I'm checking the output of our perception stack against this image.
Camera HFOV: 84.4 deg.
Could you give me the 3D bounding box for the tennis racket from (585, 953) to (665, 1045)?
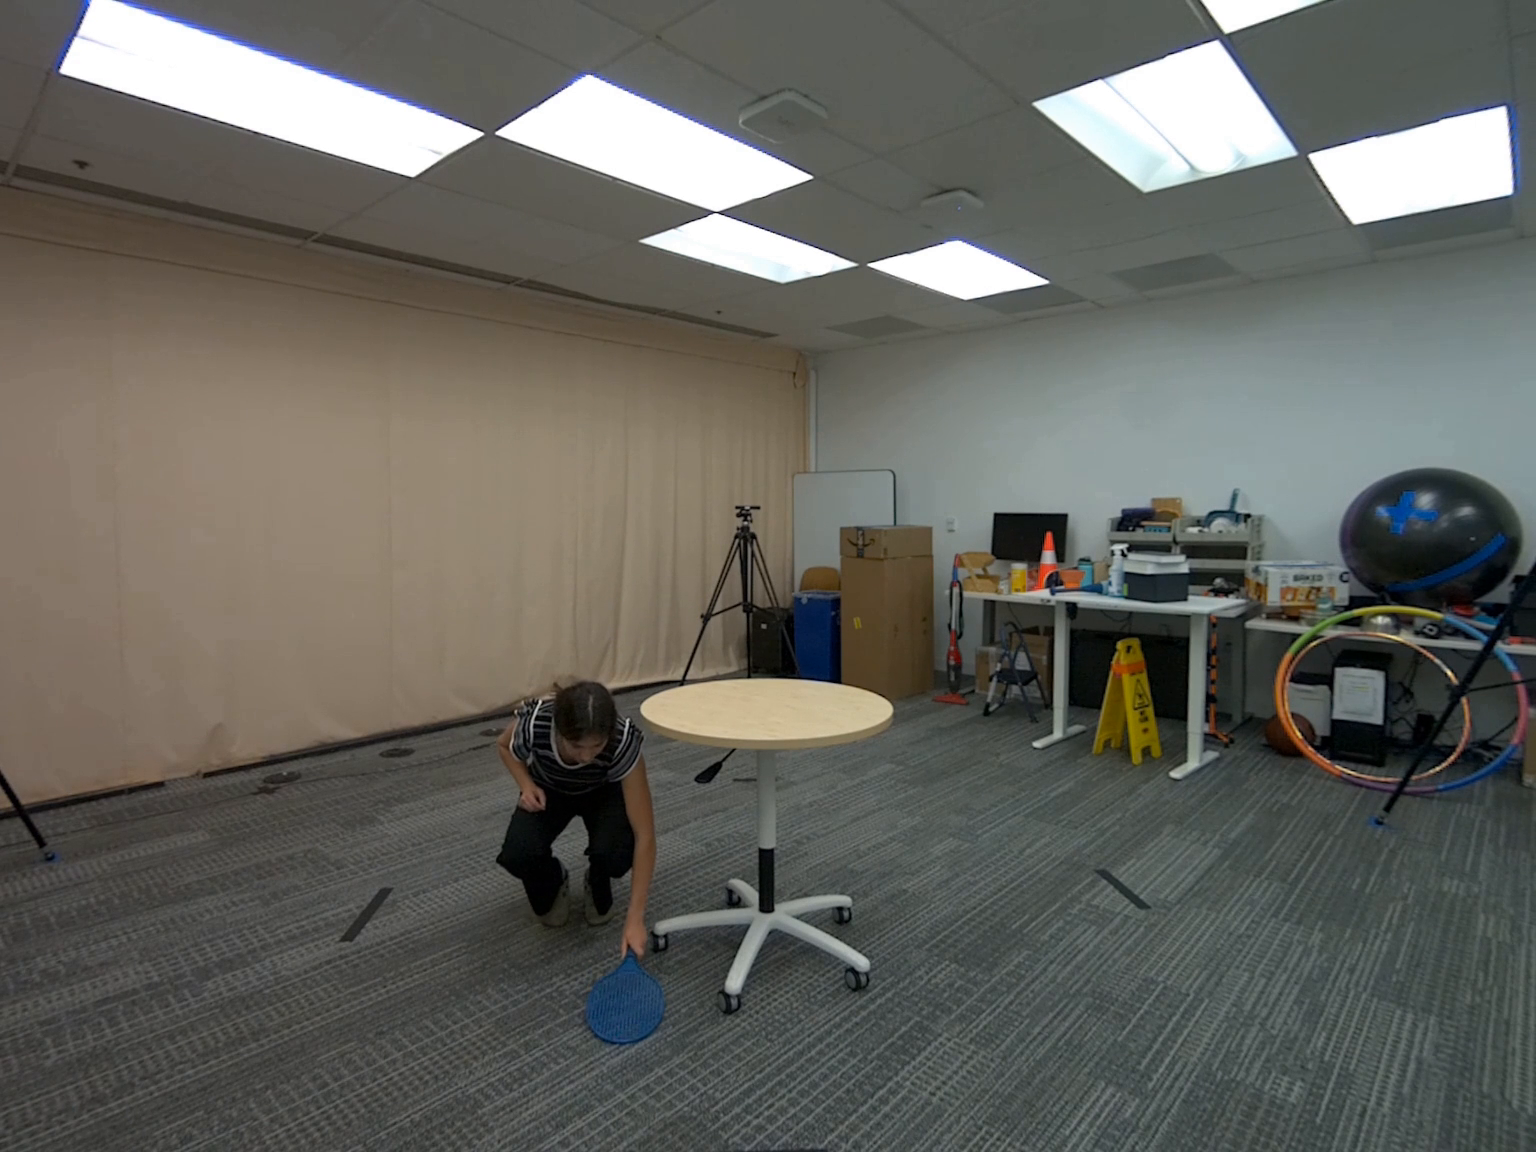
[{"bbox_3d":[-0.364,1.138,2.401,0.214,0.031,0.434,1,13,2],"label":"tennis racket"}]
